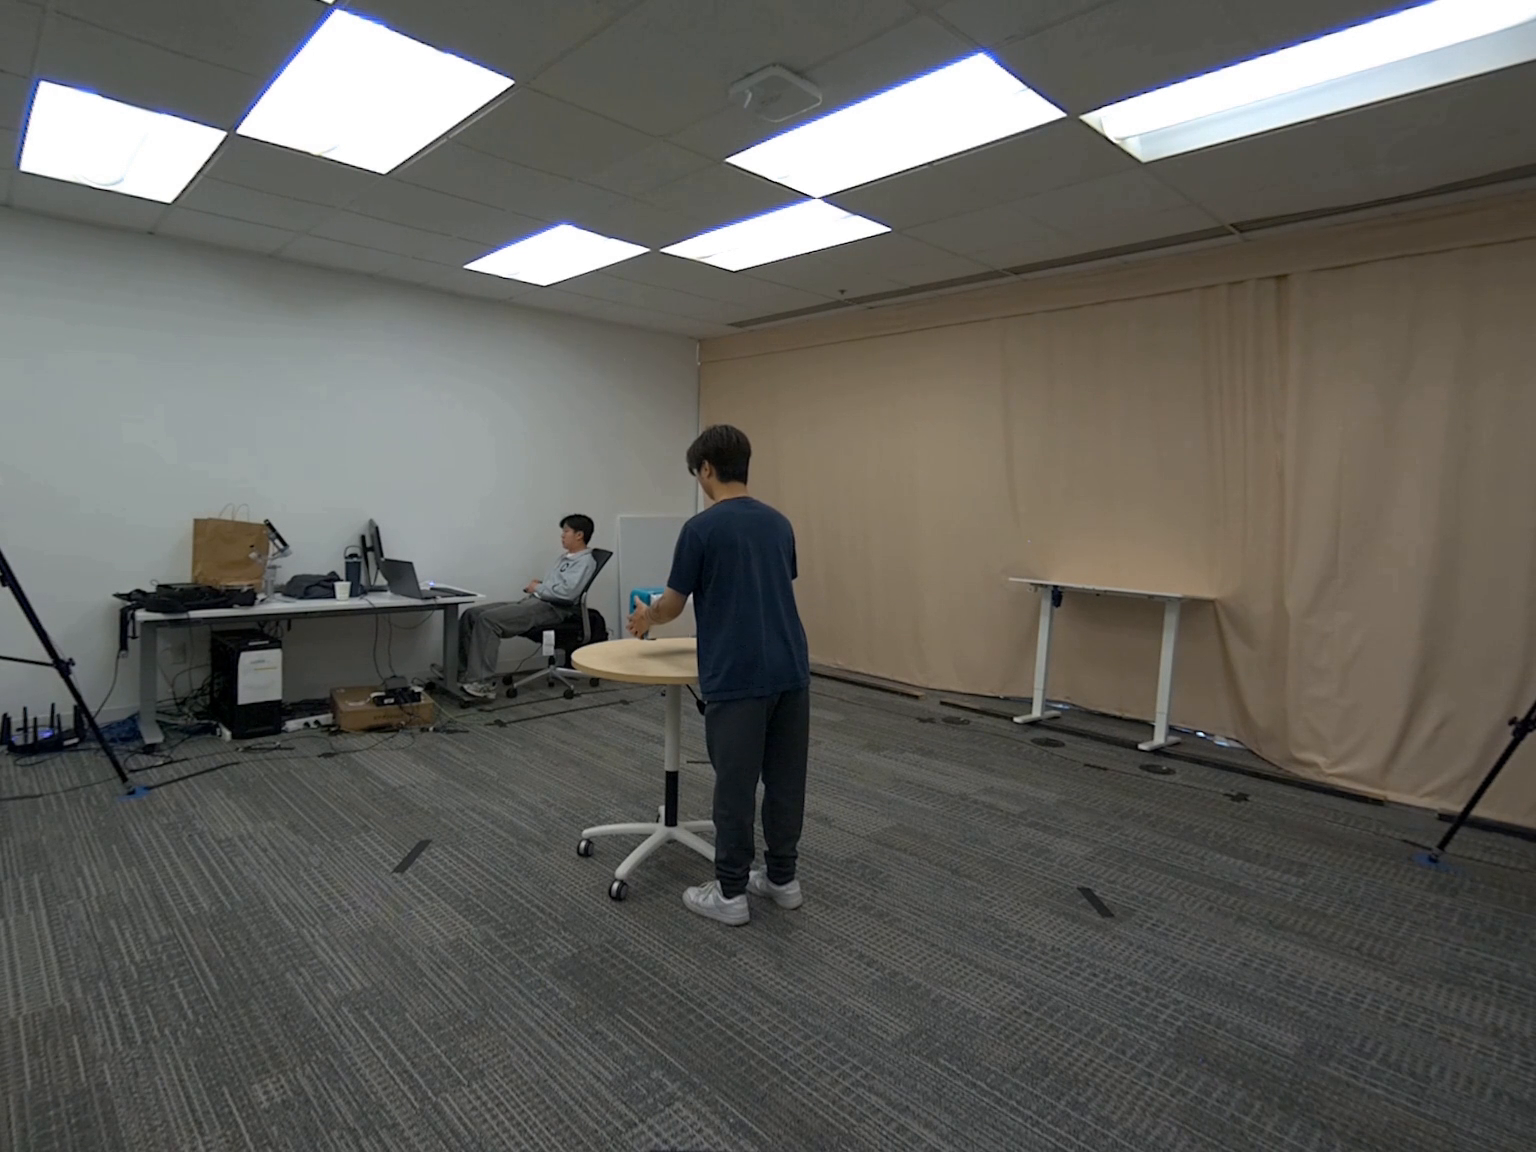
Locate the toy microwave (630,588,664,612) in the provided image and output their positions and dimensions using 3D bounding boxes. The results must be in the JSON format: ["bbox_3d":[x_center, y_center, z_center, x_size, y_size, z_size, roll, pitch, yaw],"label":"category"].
[{"bbox_3d":[-0.378,0.145,3.191,0.280,0.184,0.156,-1,5,-38],"label":"toy microwave"}]
